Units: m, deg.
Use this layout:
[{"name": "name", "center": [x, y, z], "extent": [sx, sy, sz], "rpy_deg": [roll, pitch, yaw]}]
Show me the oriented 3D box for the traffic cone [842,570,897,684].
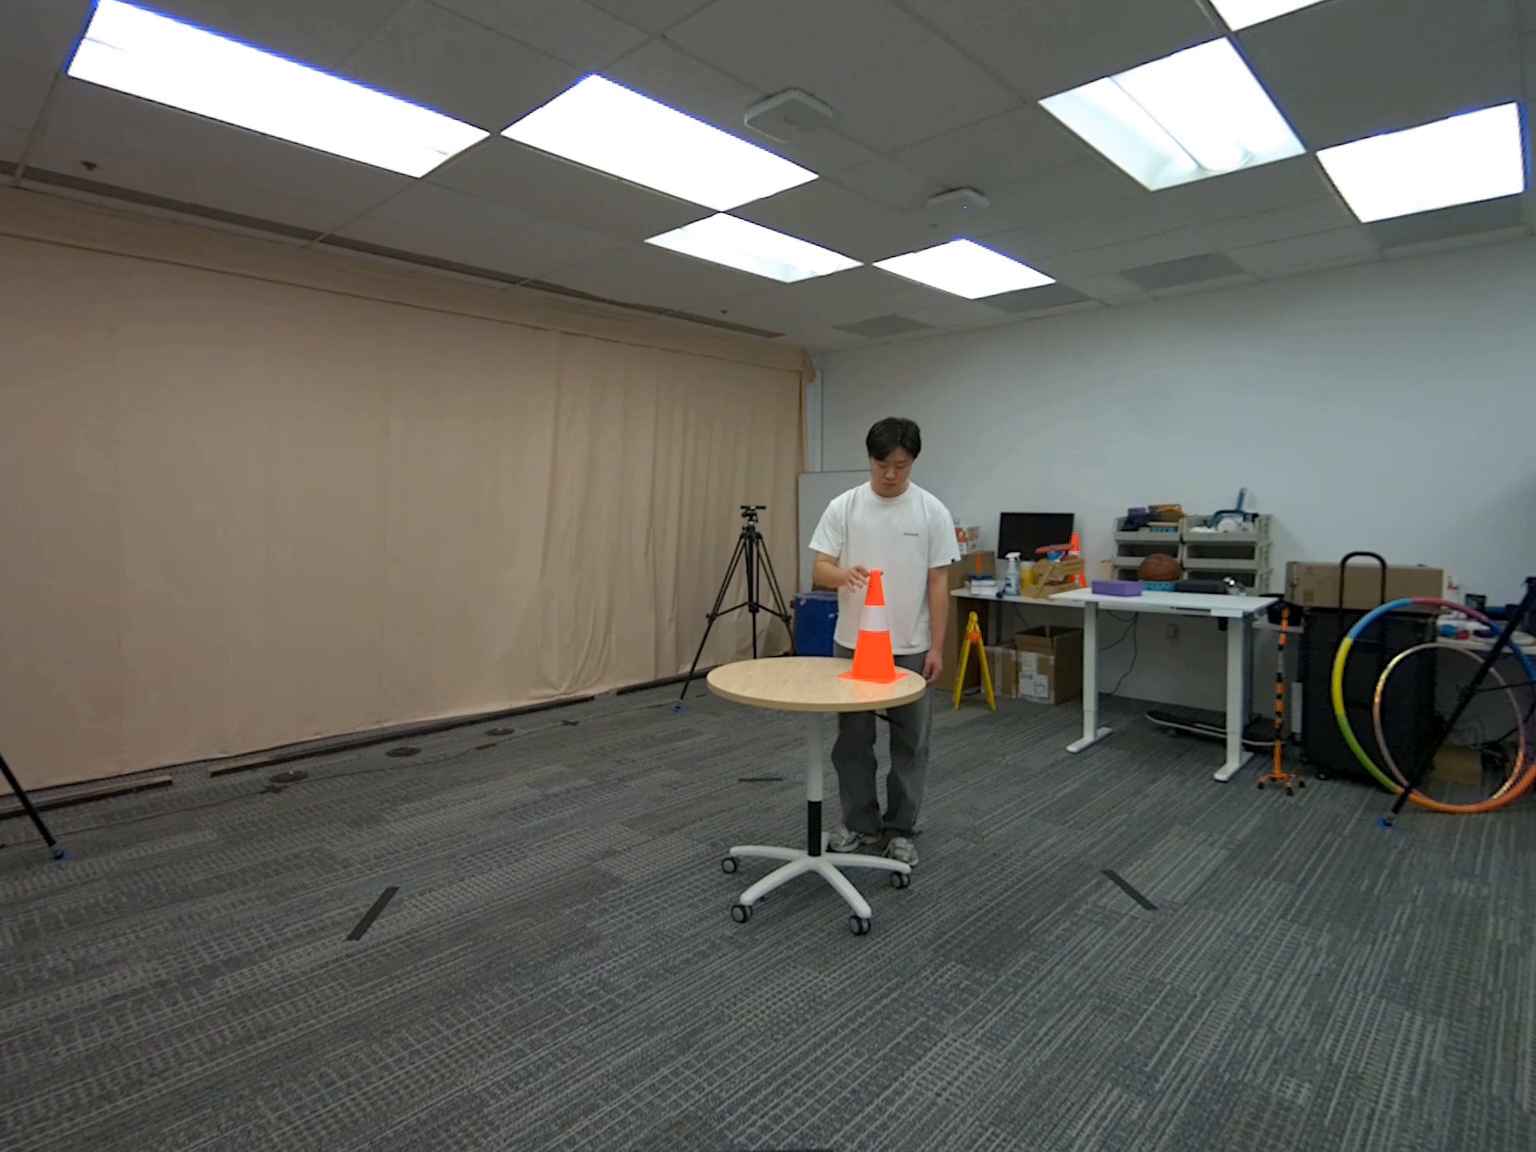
[{"name": "traffic cone", "center": [0.376, 0.168, 3.007], "extent": [0.211, 0.383, 0.198], "rpy_deg": [1, 4, 30]}]
